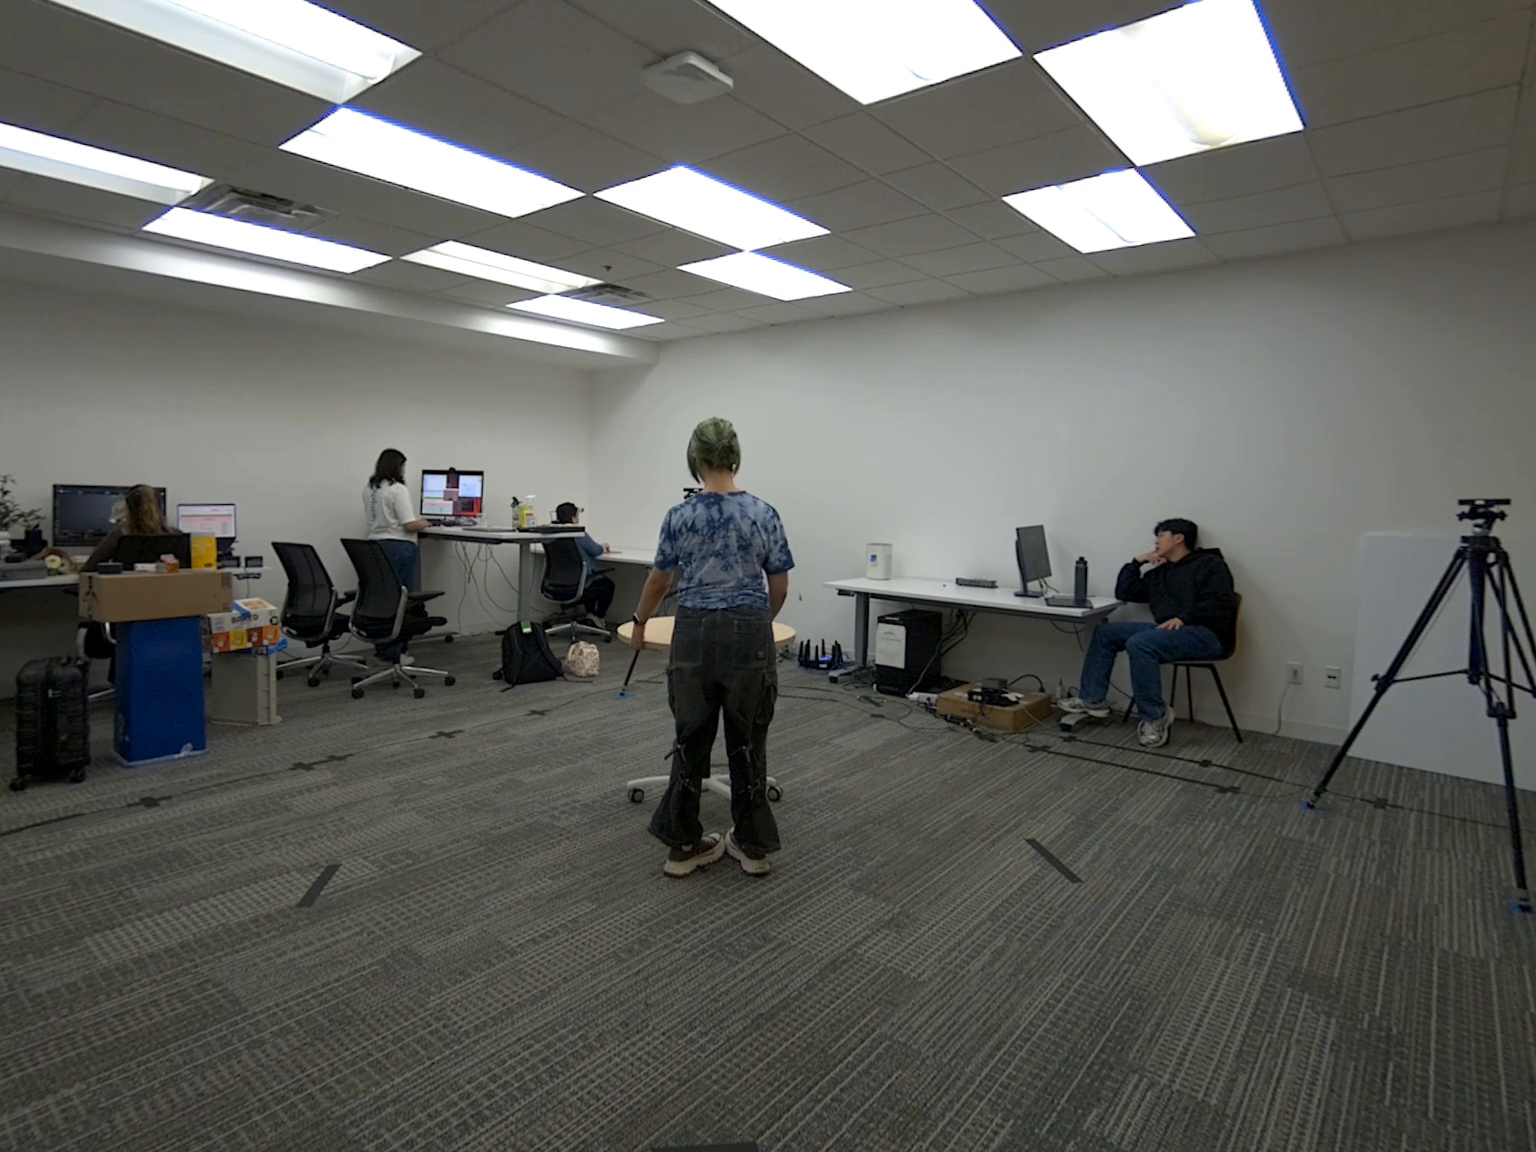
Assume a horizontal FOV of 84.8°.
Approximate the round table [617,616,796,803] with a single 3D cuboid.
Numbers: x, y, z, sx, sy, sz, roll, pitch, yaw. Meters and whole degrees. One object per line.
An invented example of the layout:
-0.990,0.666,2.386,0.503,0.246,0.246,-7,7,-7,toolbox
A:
-0.283,0.621,3.679,0.763,0.792,0.767,1,4,-2,round table
